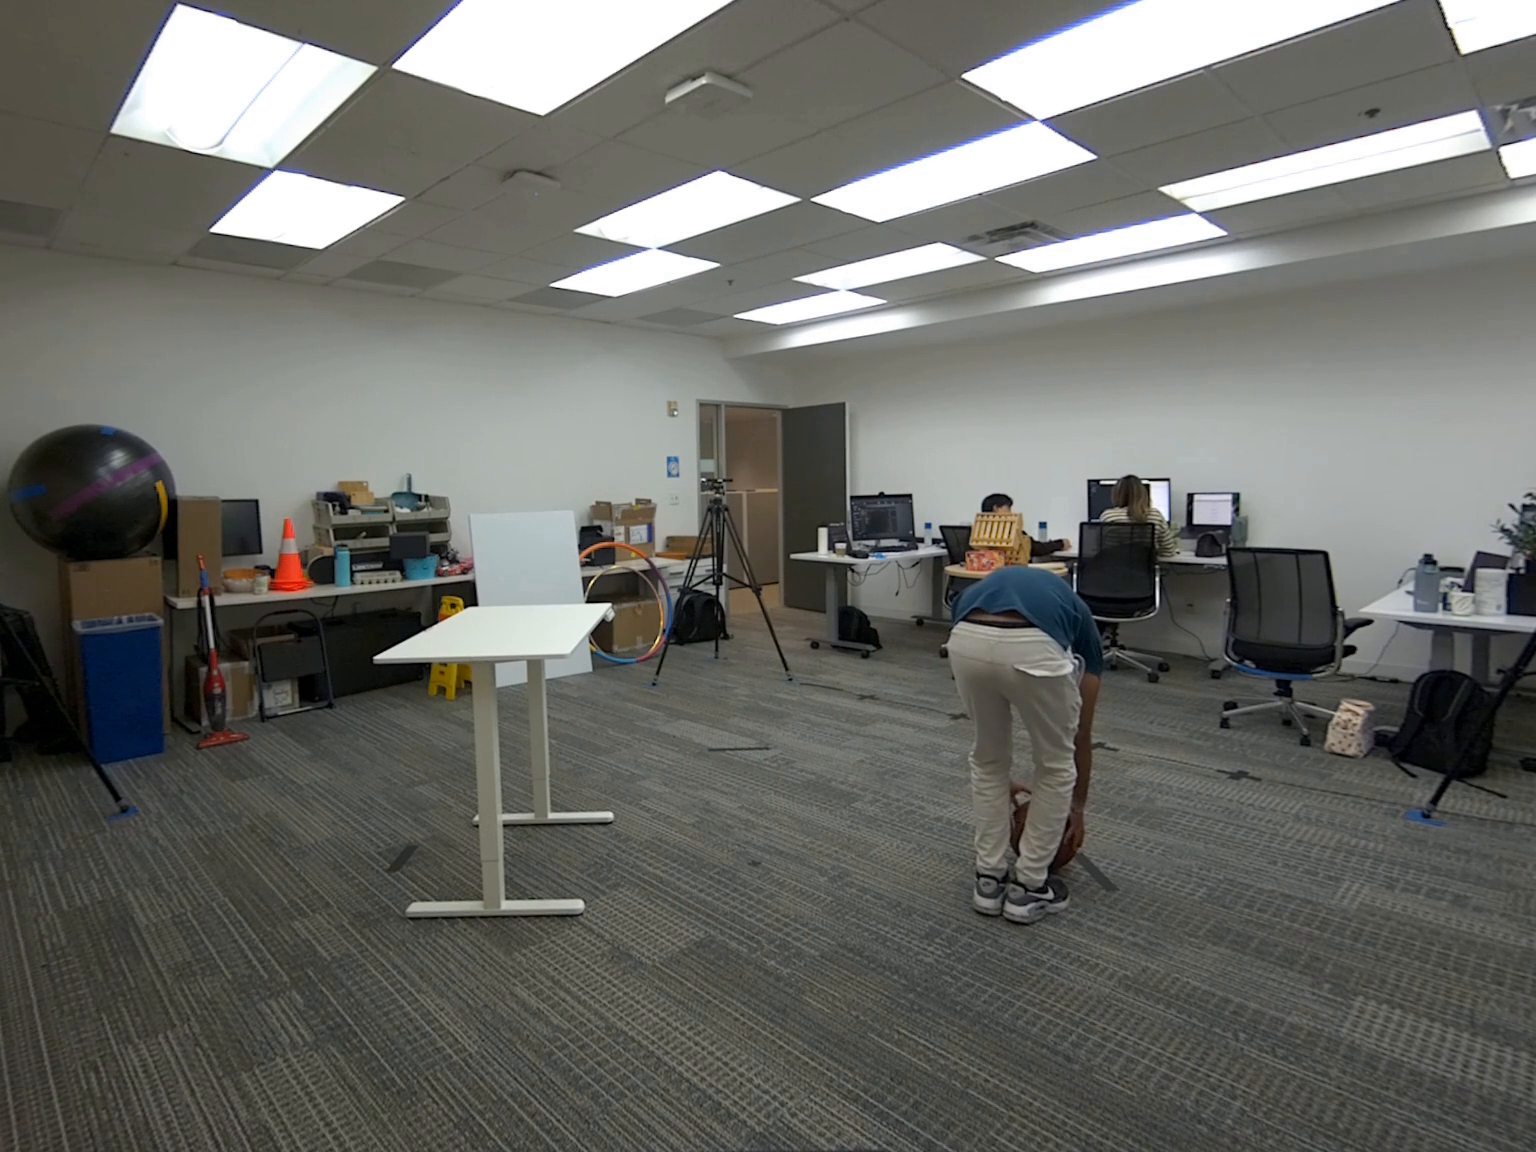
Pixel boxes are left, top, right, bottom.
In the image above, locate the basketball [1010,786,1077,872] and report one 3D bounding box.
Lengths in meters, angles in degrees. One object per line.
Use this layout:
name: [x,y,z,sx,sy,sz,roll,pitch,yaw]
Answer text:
basketball: [0.984,0.916,3.033,0.236,0.235,0.237,-1,5,-2]
